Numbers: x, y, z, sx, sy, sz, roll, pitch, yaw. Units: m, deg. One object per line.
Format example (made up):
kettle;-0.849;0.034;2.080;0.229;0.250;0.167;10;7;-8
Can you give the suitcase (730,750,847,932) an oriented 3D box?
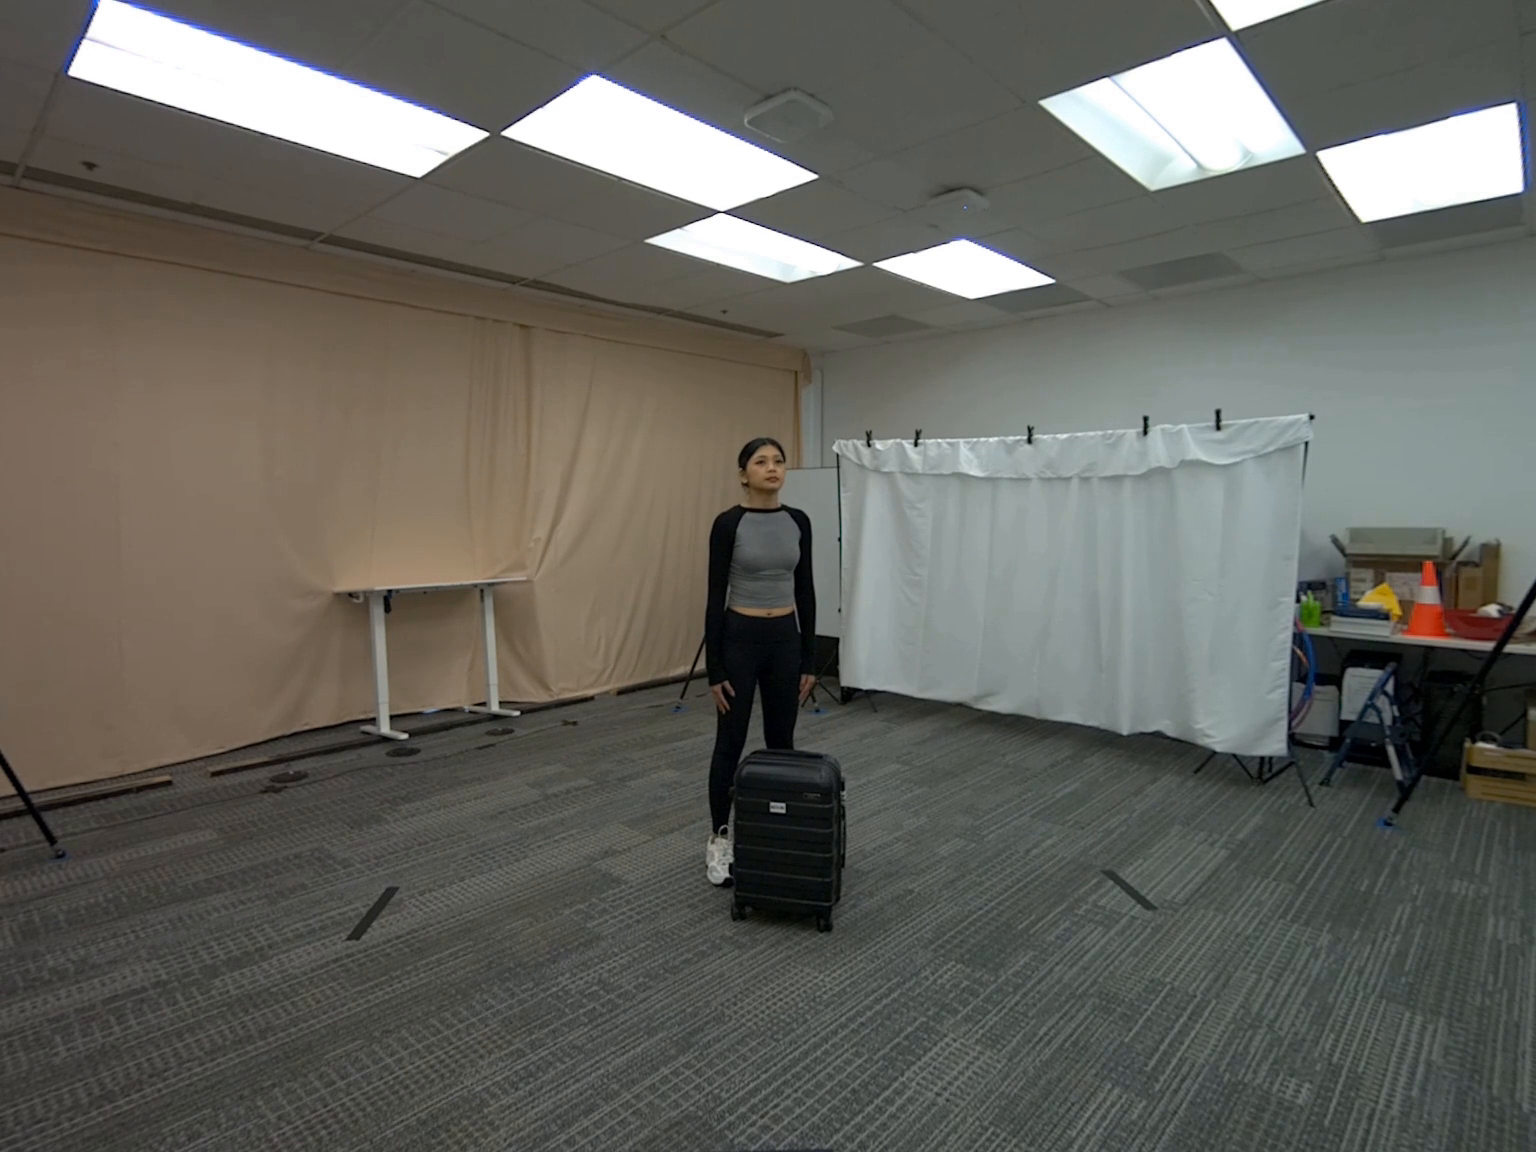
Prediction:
suitcase;0.077;0.876;2.865;0.382;0.548;0.245;1;5;15
